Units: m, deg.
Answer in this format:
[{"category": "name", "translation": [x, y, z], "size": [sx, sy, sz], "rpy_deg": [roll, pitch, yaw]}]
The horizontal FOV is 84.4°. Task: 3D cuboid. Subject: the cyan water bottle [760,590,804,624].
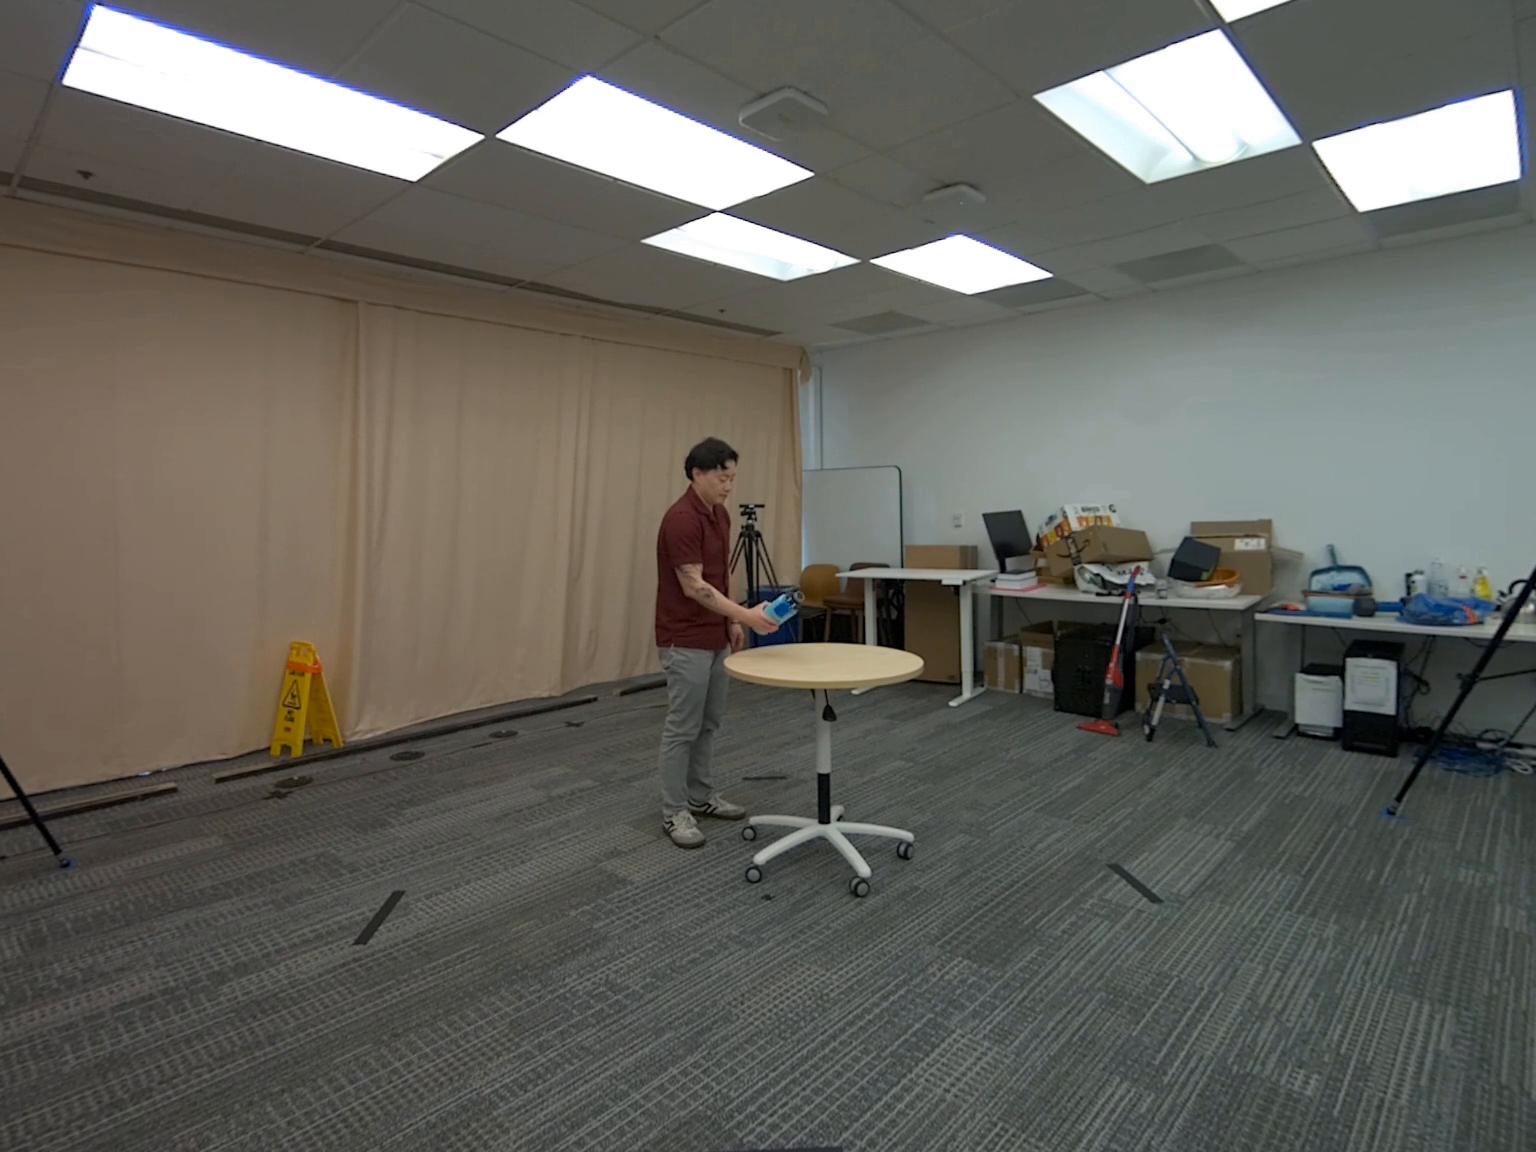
[{"category": "cyan water bottle", "translation": [0.040, 0.152, 3.331], "size": [0.089, 0.094, 0.287], "rpy_deg": [-3, -22, -37]}]
